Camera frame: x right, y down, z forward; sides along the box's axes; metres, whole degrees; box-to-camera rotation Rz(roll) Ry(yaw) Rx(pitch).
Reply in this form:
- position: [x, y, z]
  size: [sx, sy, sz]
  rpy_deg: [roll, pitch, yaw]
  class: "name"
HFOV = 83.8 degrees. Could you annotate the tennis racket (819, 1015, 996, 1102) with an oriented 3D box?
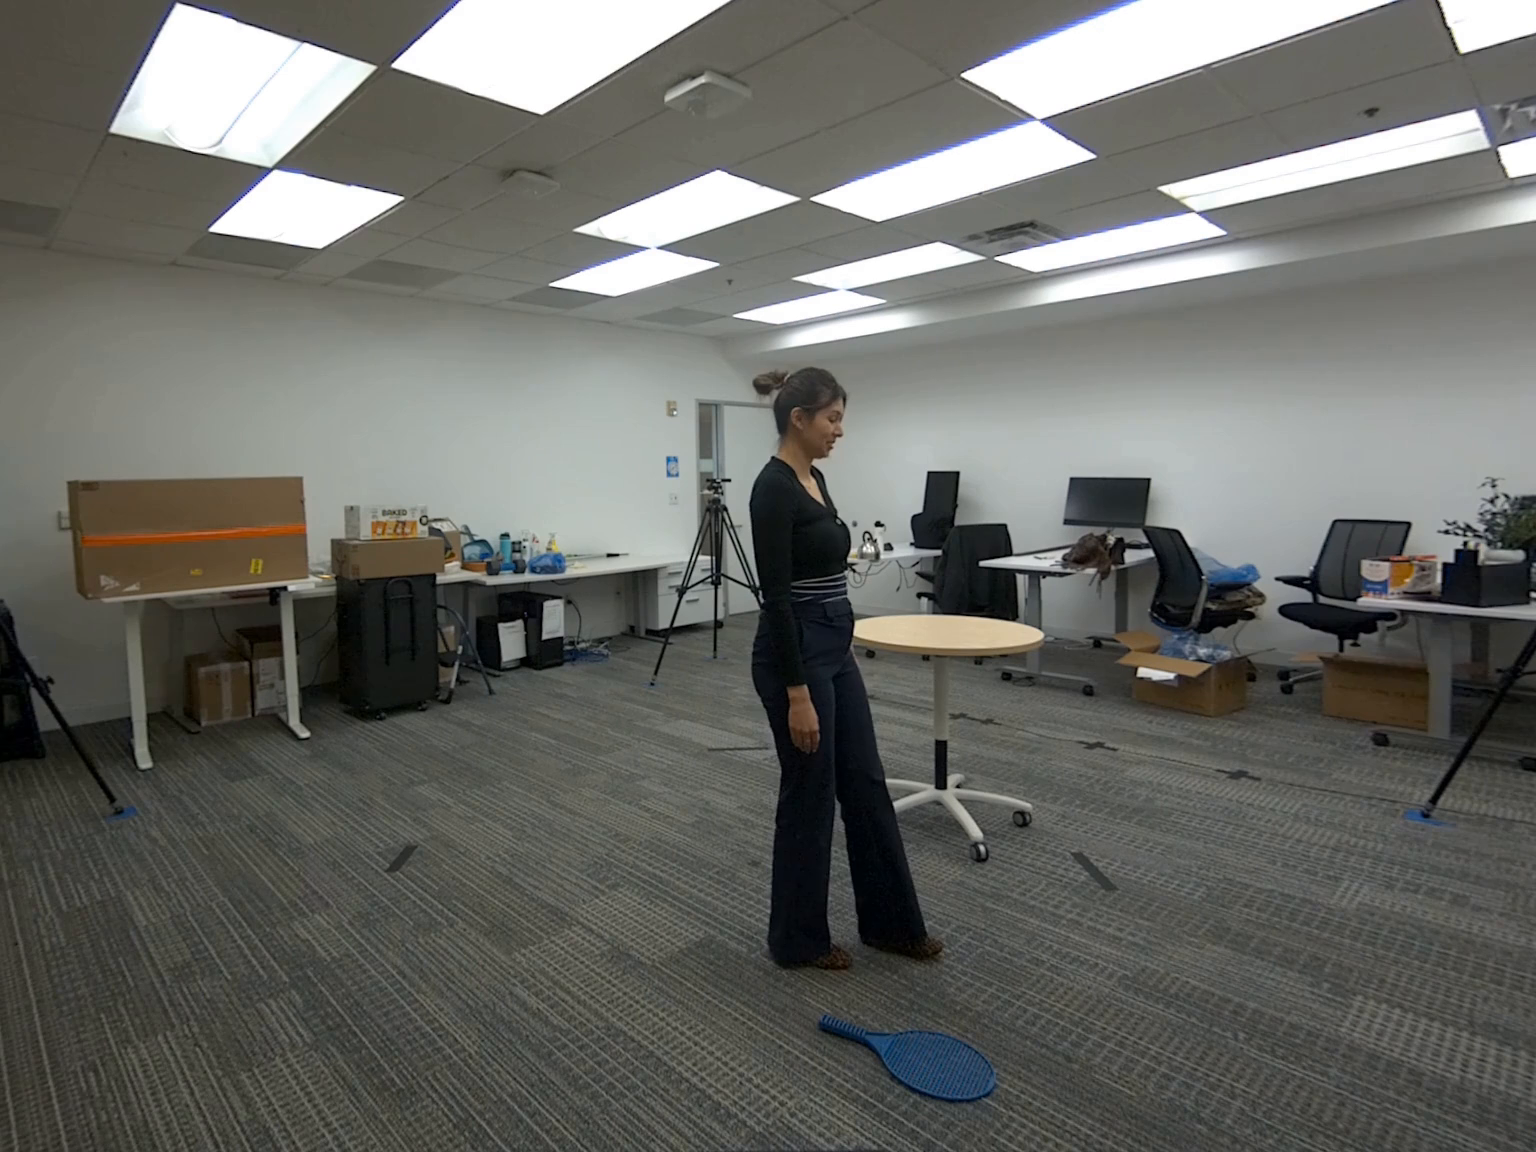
- position: [0.332, 1.152, 2.059]
  size: [0.444, 0.031, 0.209]
  rpy_deg: [4, 9, 29]
  class: "tennis racket"
